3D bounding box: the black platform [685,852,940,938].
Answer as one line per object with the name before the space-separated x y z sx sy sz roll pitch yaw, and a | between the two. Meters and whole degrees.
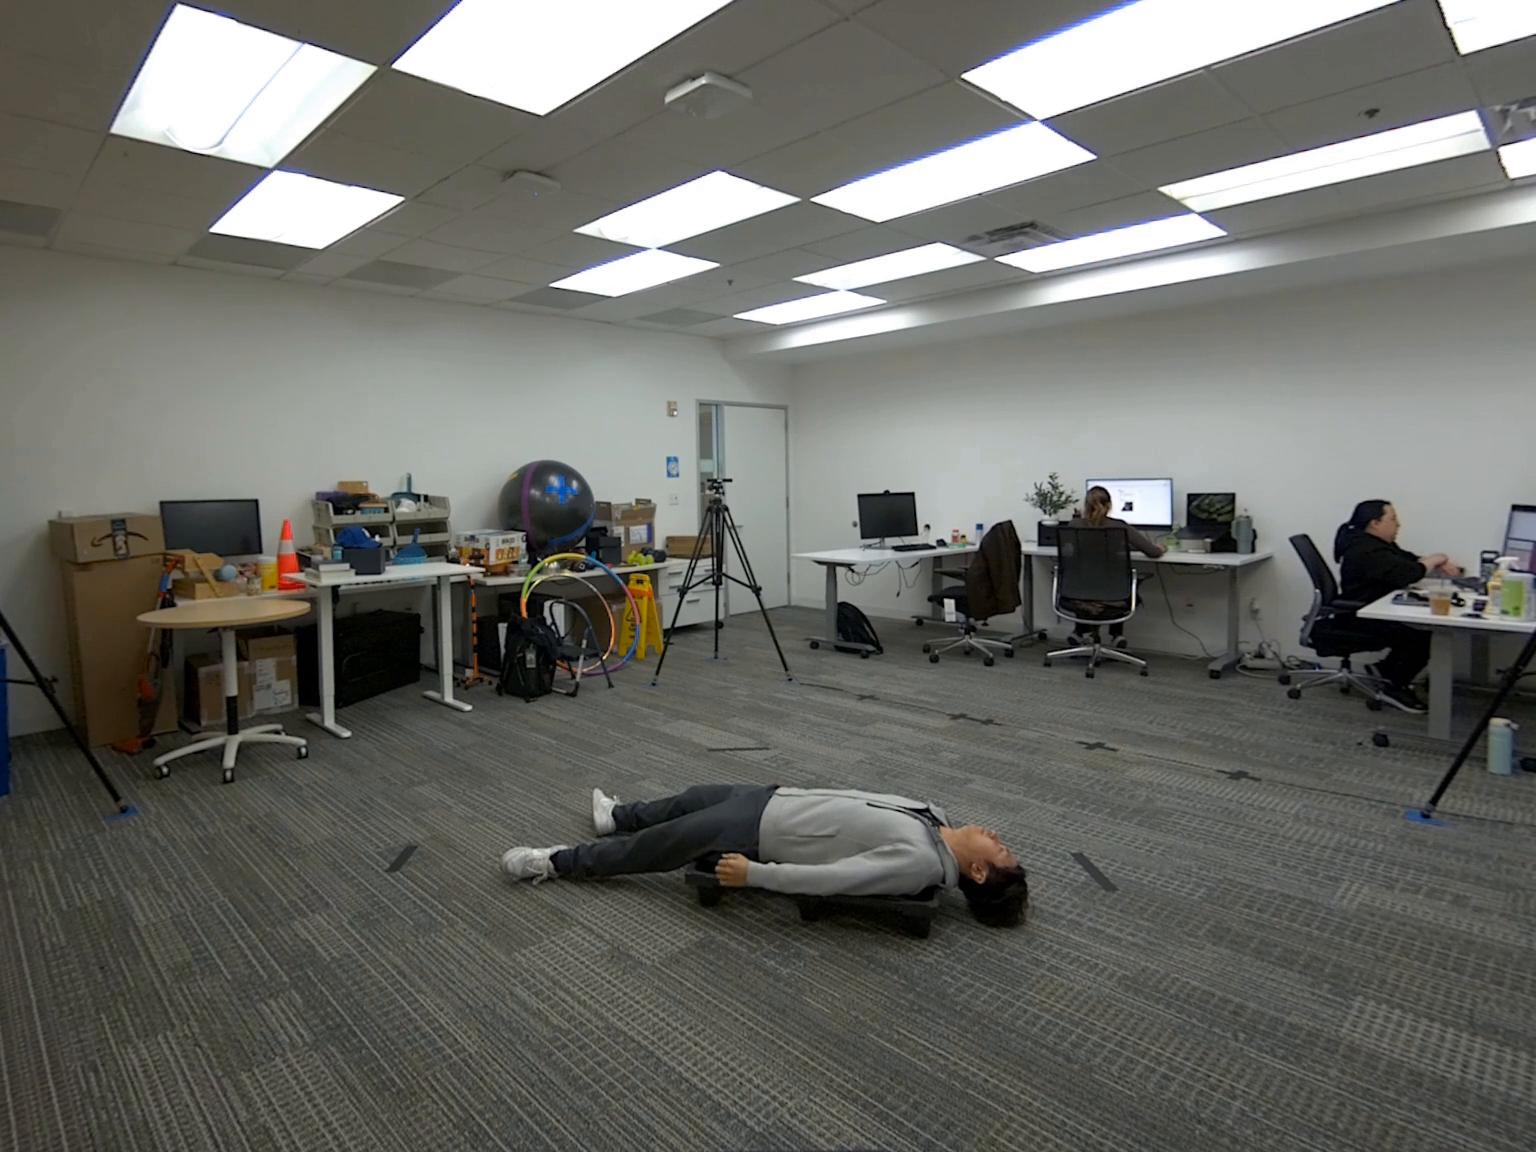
black platform | 0.194 0.980 2.910 0.821 0.143 0.595 2 4 19
